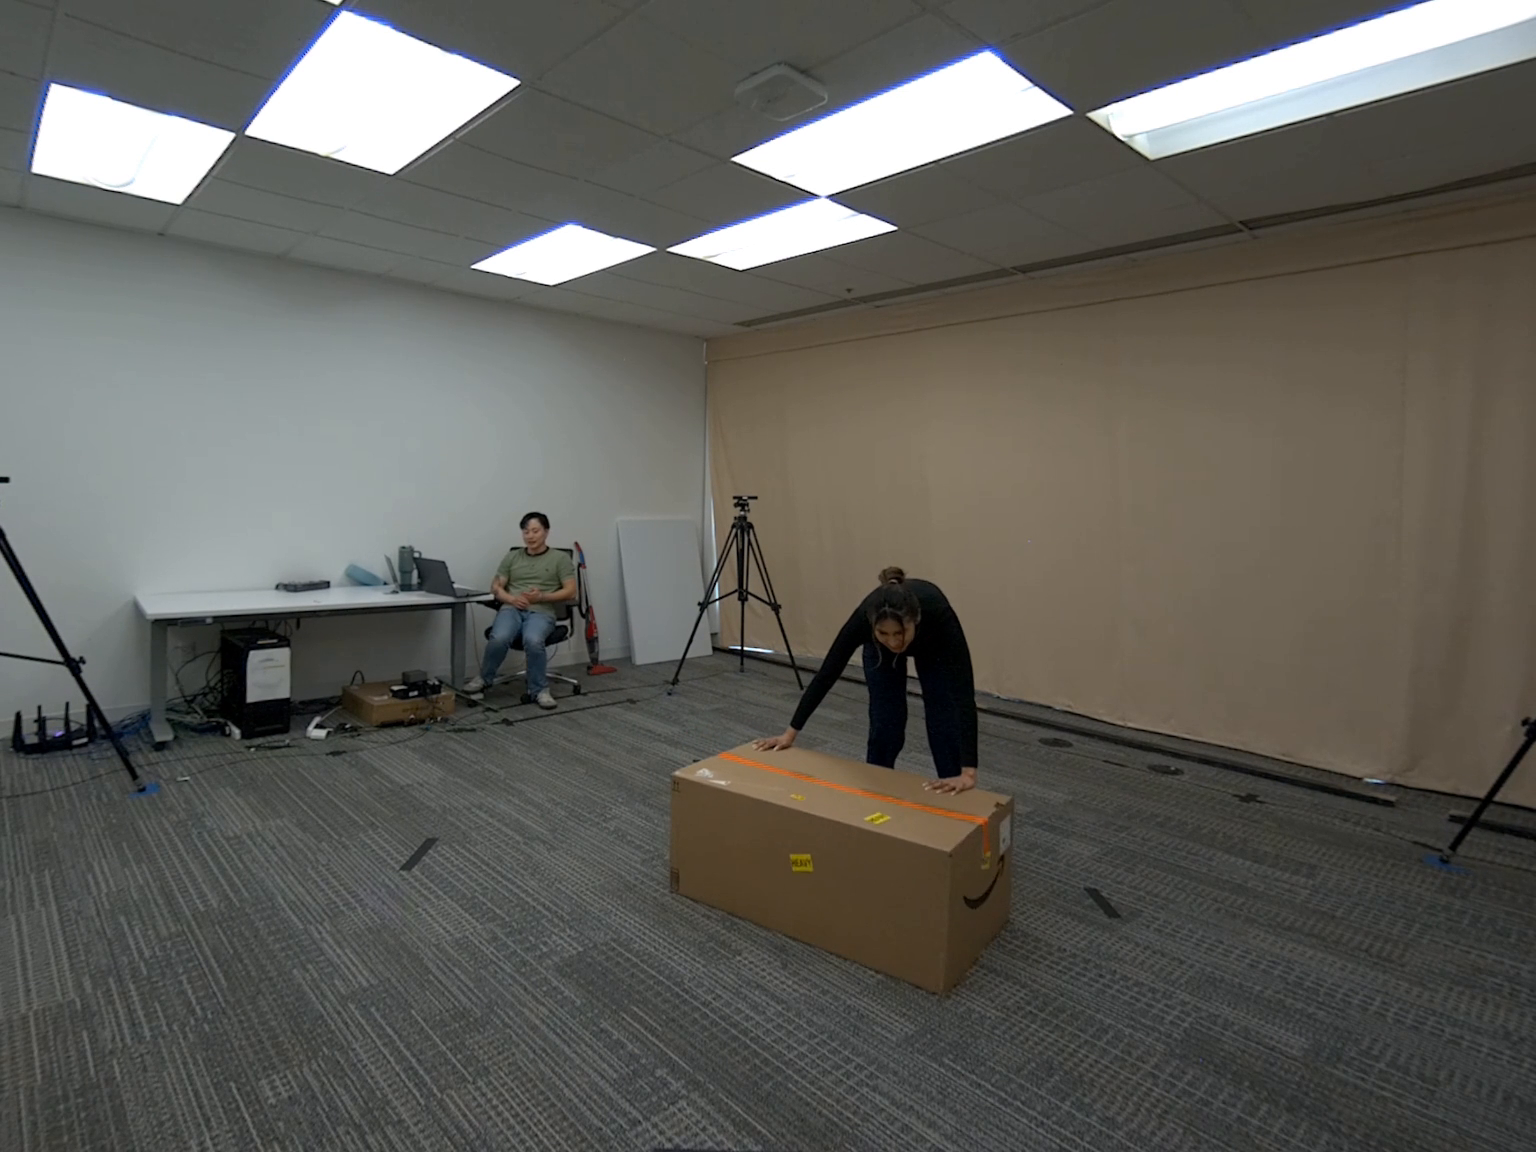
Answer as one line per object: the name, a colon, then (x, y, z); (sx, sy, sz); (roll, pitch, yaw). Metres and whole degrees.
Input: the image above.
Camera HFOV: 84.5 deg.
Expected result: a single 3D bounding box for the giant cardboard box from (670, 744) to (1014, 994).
giant cardboard box: (0.226, 0.921, 2.881); (1.050, 0.425, 0.565); (5, 5, 35)
